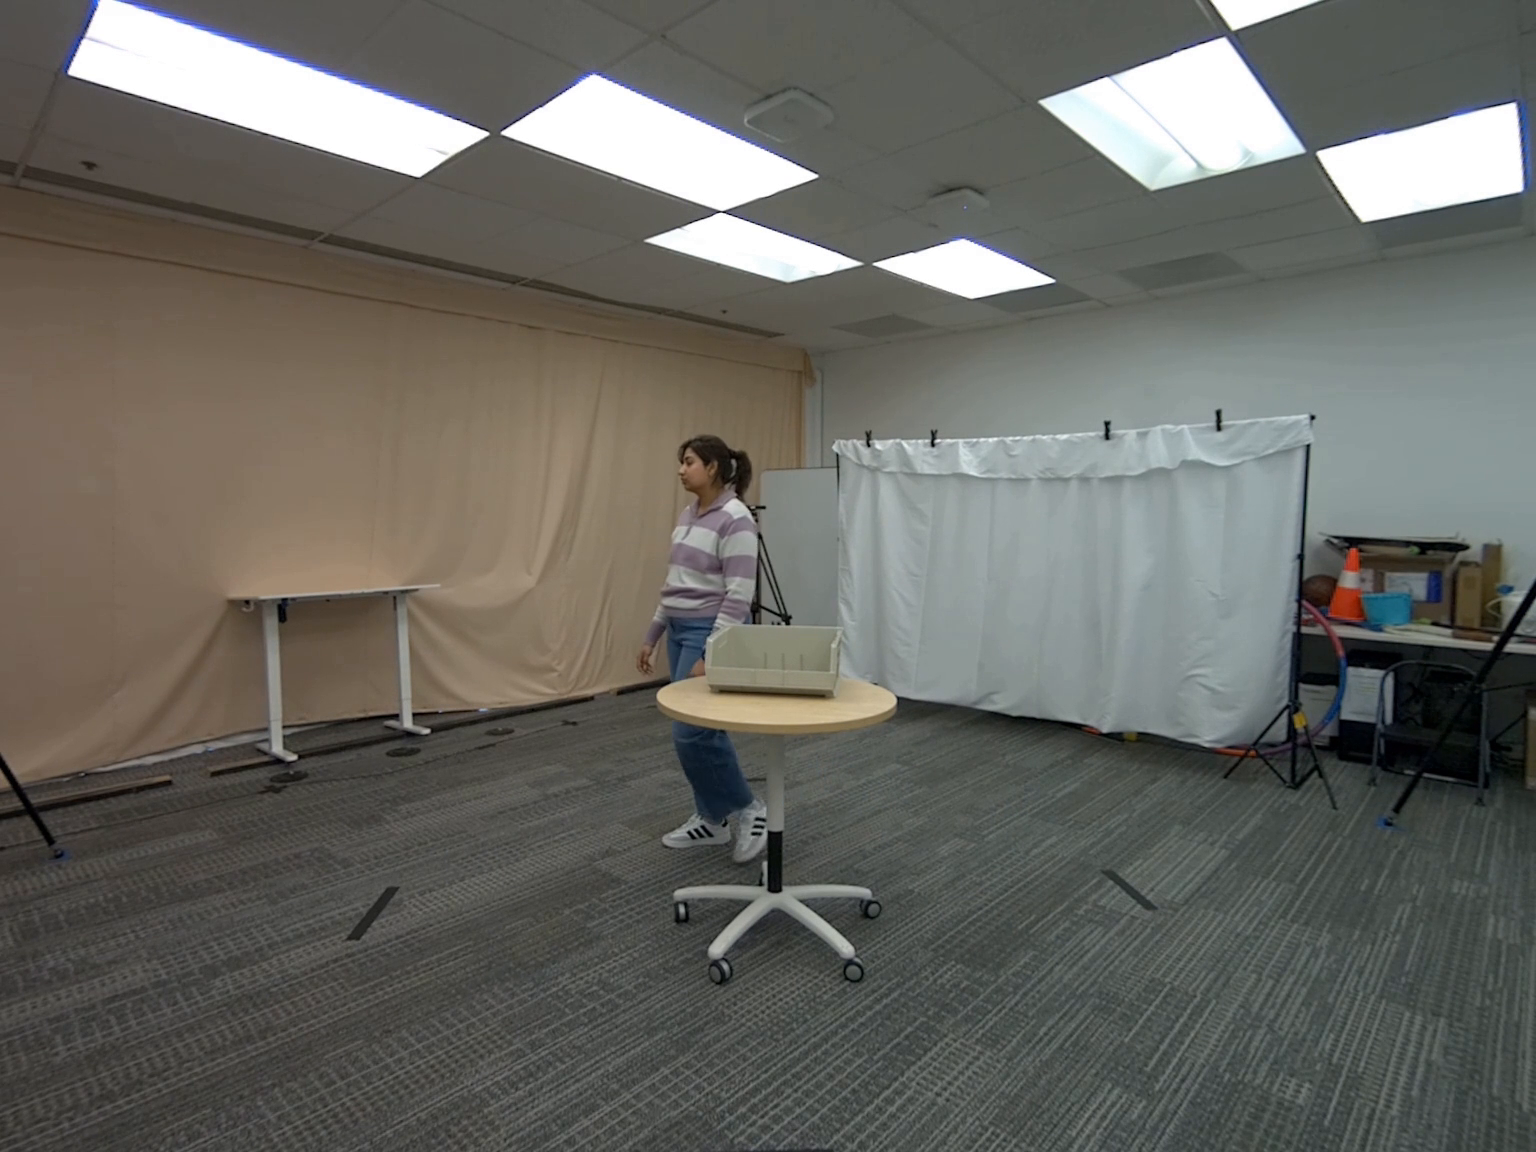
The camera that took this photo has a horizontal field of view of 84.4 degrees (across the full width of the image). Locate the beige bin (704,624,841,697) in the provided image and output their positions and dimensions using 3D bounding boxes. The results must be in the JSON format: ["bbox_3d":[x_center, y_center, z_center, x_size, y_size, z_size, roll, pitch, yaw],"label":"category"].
[{"bbox_3d":[0.036,0.282,2.836,0.428,0.189,0.373,1,3,11],"label":"beige bin"}]
